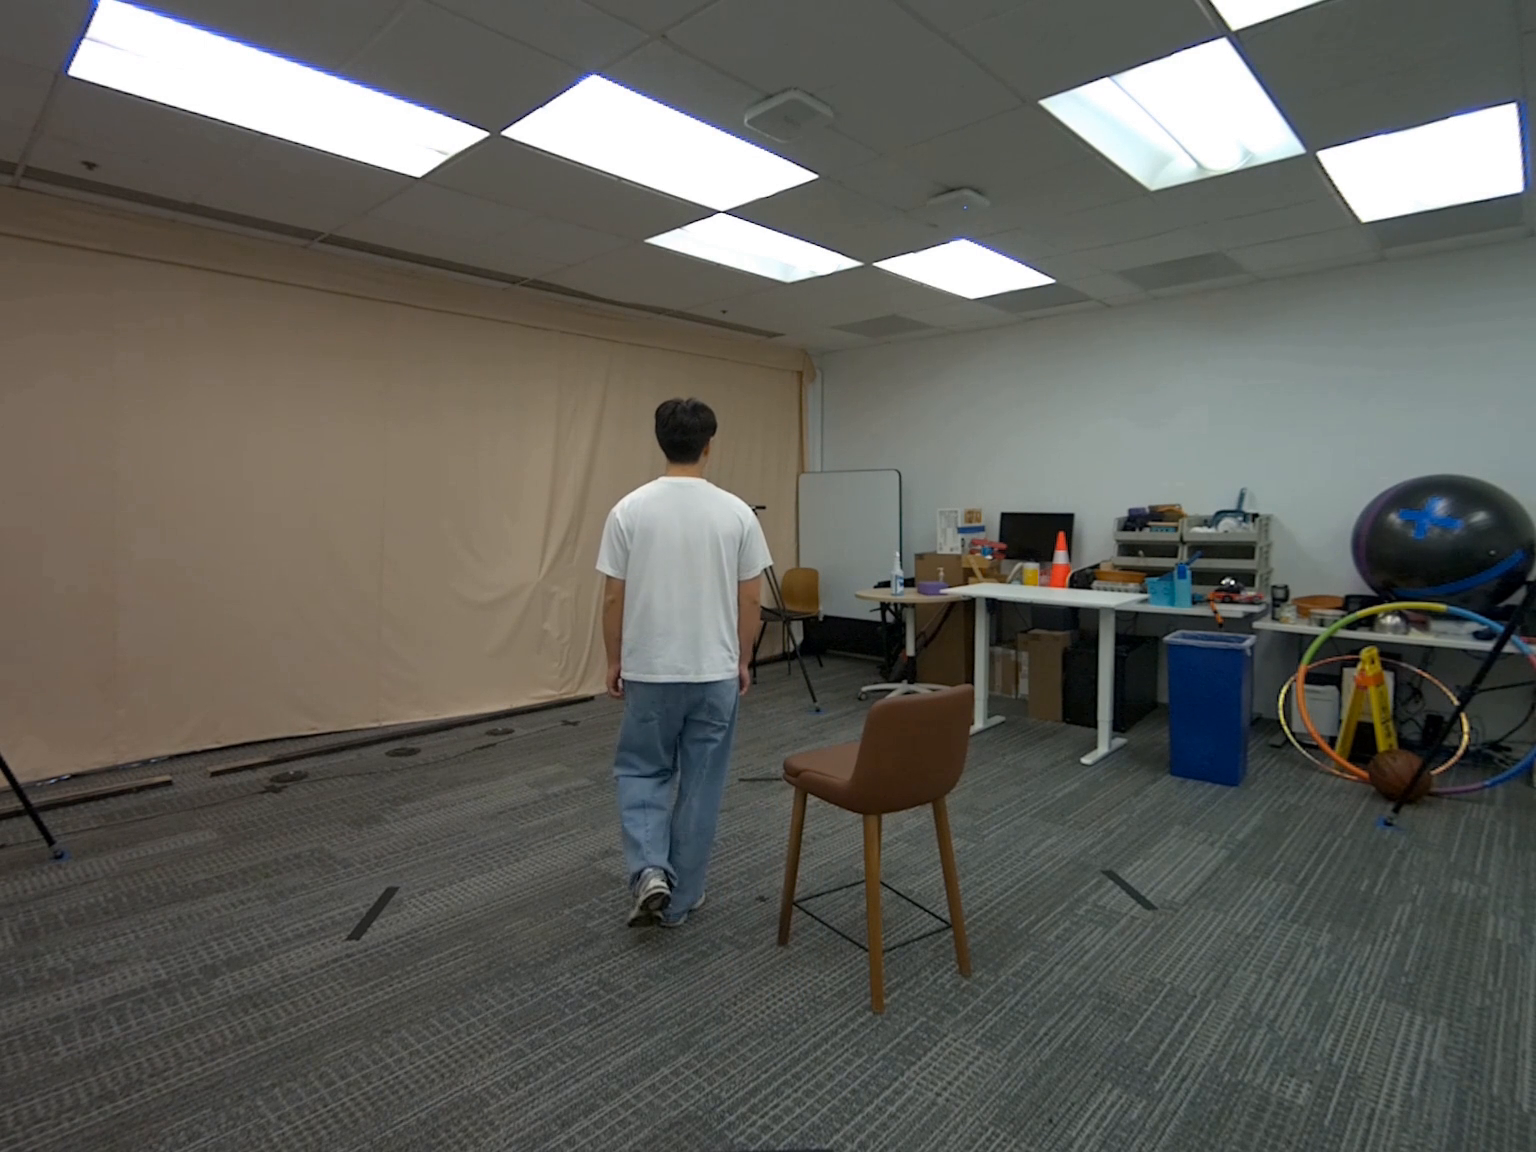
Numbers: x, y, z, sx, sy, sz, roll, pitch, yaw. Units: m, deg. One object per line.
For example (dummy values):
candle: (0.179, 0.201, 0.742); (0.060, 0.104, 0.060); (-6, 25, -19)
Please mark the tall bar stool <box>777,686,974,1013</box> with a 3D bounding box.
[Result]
tall bar stool: (0.331, 0.740, 2.559); (0.443, 0.887, 0.482); (-2, 6, -34)
